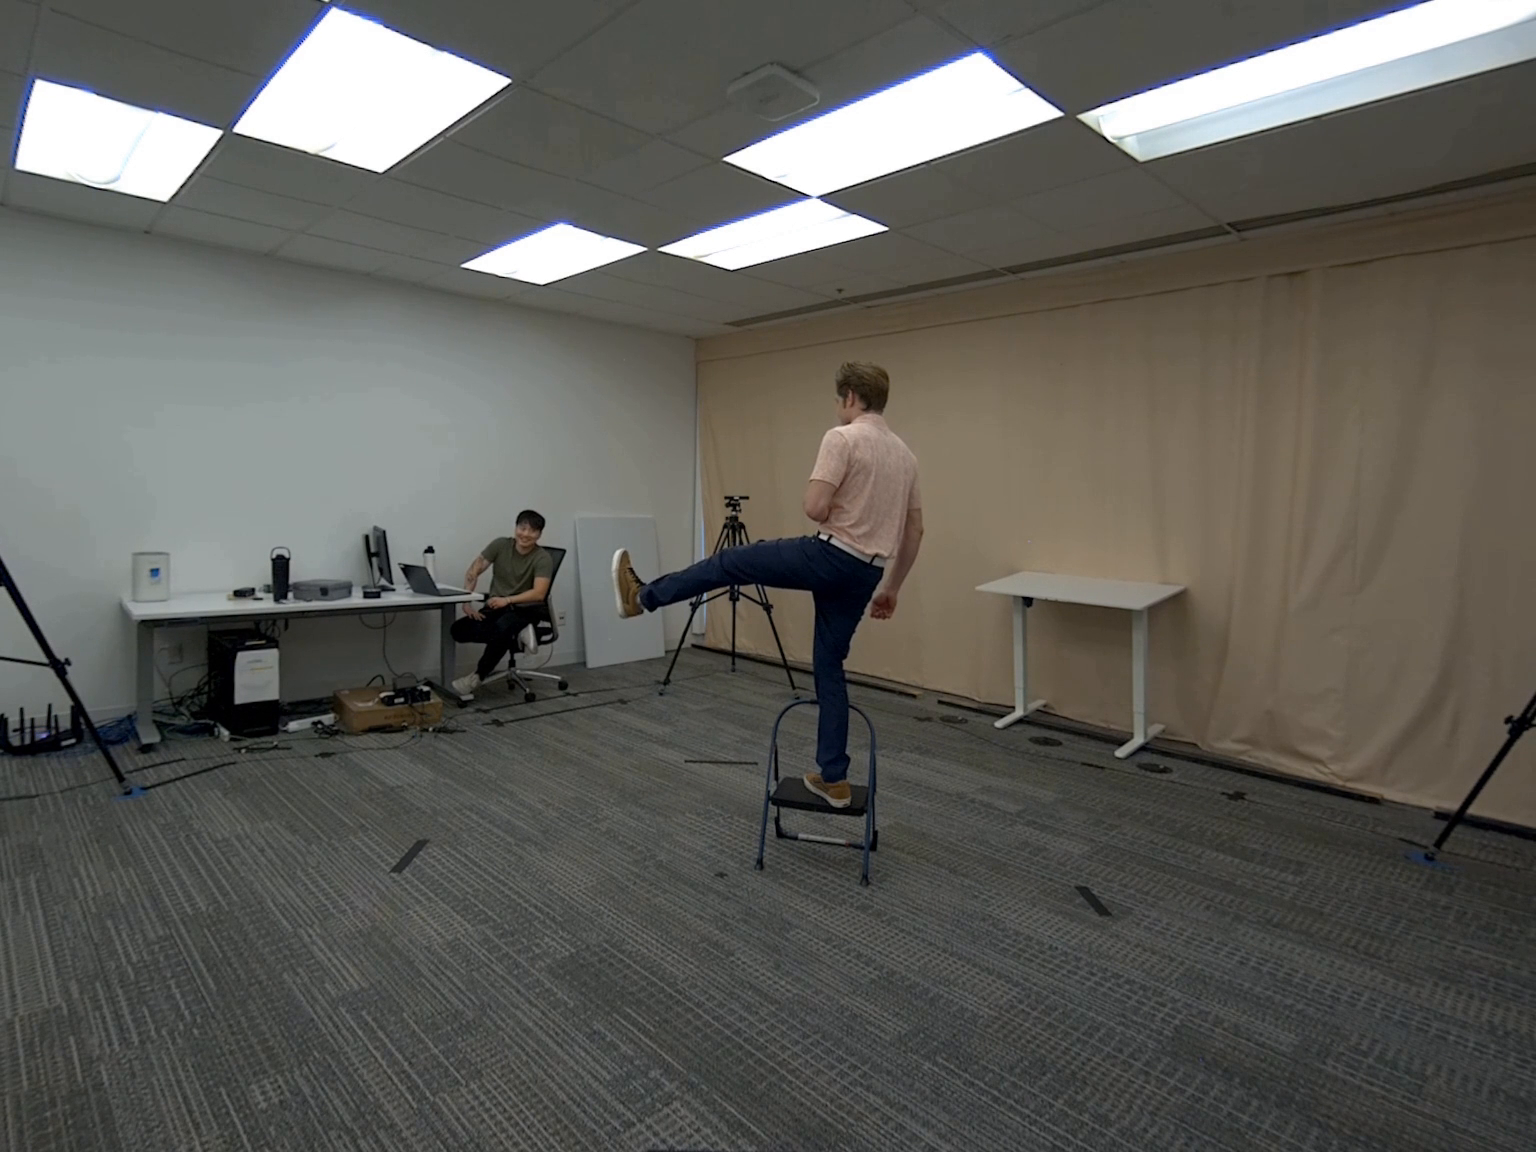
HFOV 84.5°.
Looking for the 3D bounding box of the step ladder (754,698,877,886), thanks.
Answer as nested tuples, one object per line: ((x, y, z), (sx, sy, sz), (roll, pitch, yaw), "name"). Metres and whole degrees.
((0.201, 0.800, 3.251), (0.436, 0.605, 0.346), (2, 3, 15), "step ladder")
